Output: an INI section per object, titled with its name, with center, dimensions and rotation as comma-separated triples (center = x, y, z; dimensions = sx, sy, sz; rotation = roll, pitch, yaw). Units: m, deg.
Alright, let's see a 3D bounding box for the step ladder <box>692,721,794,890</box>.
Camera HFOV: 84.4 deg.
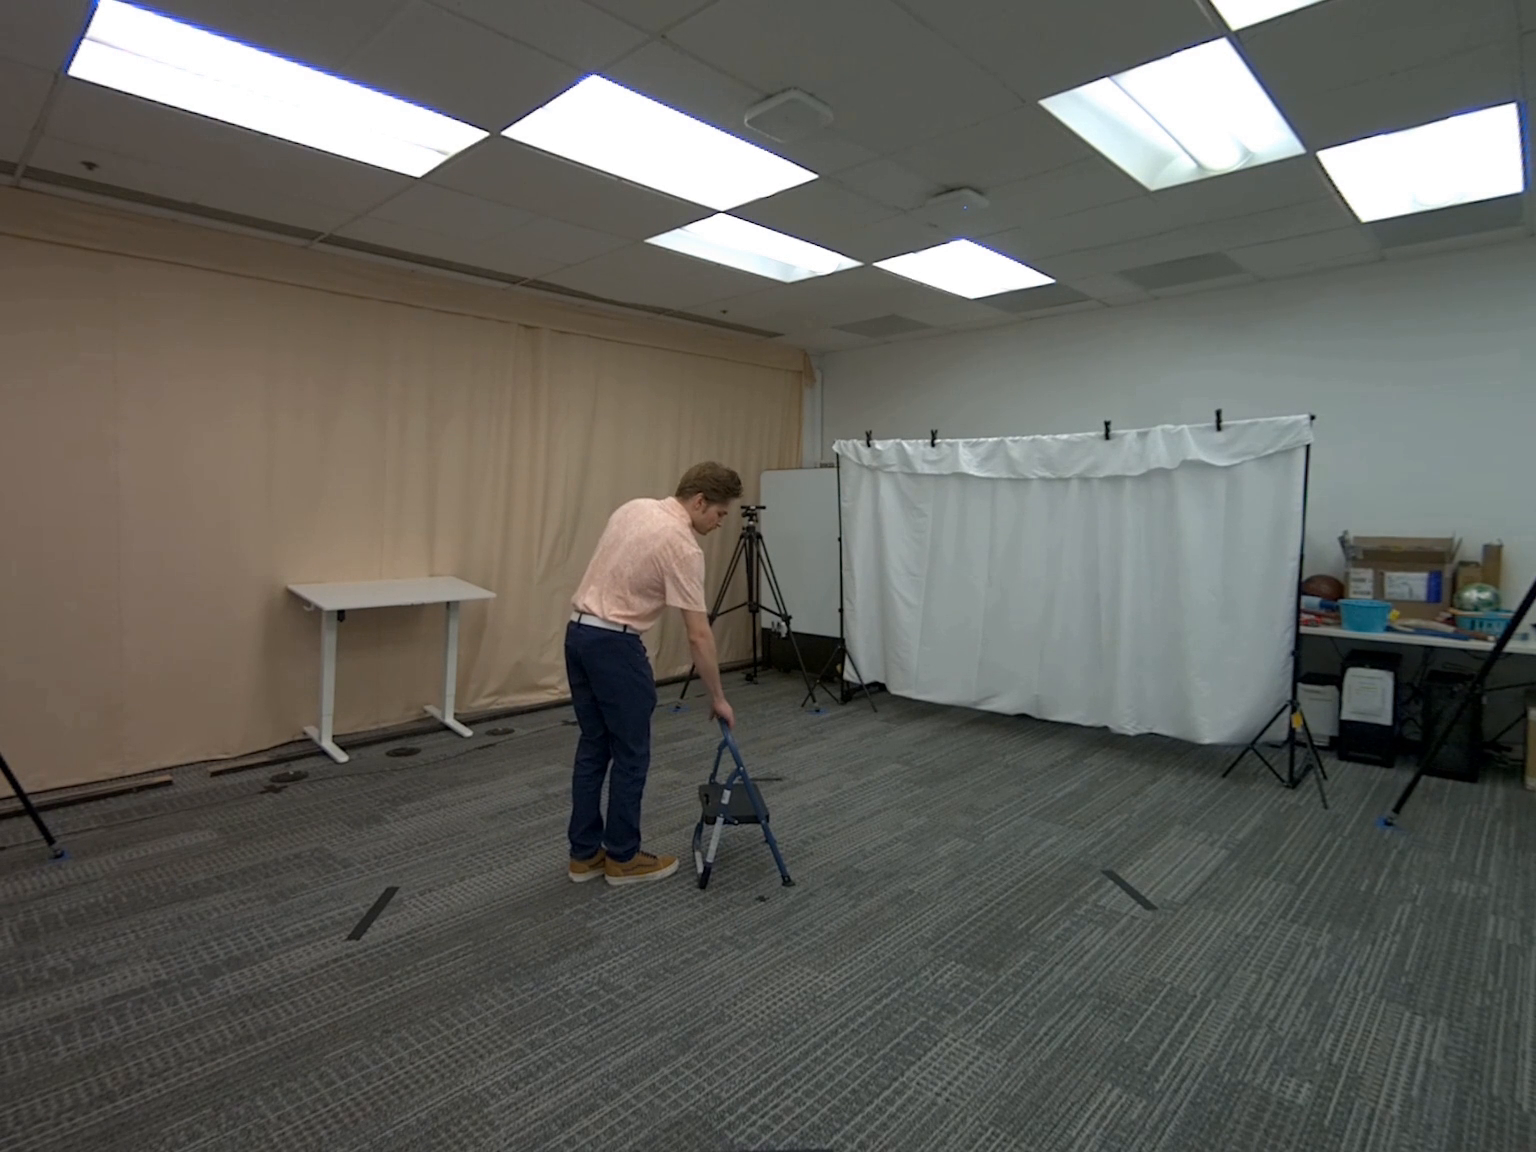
[step ladder]
center = -0.113, 0.826, 3.262
dimensions = 0.346, 0.605, 0.435
rotation = 2, 3, -9
